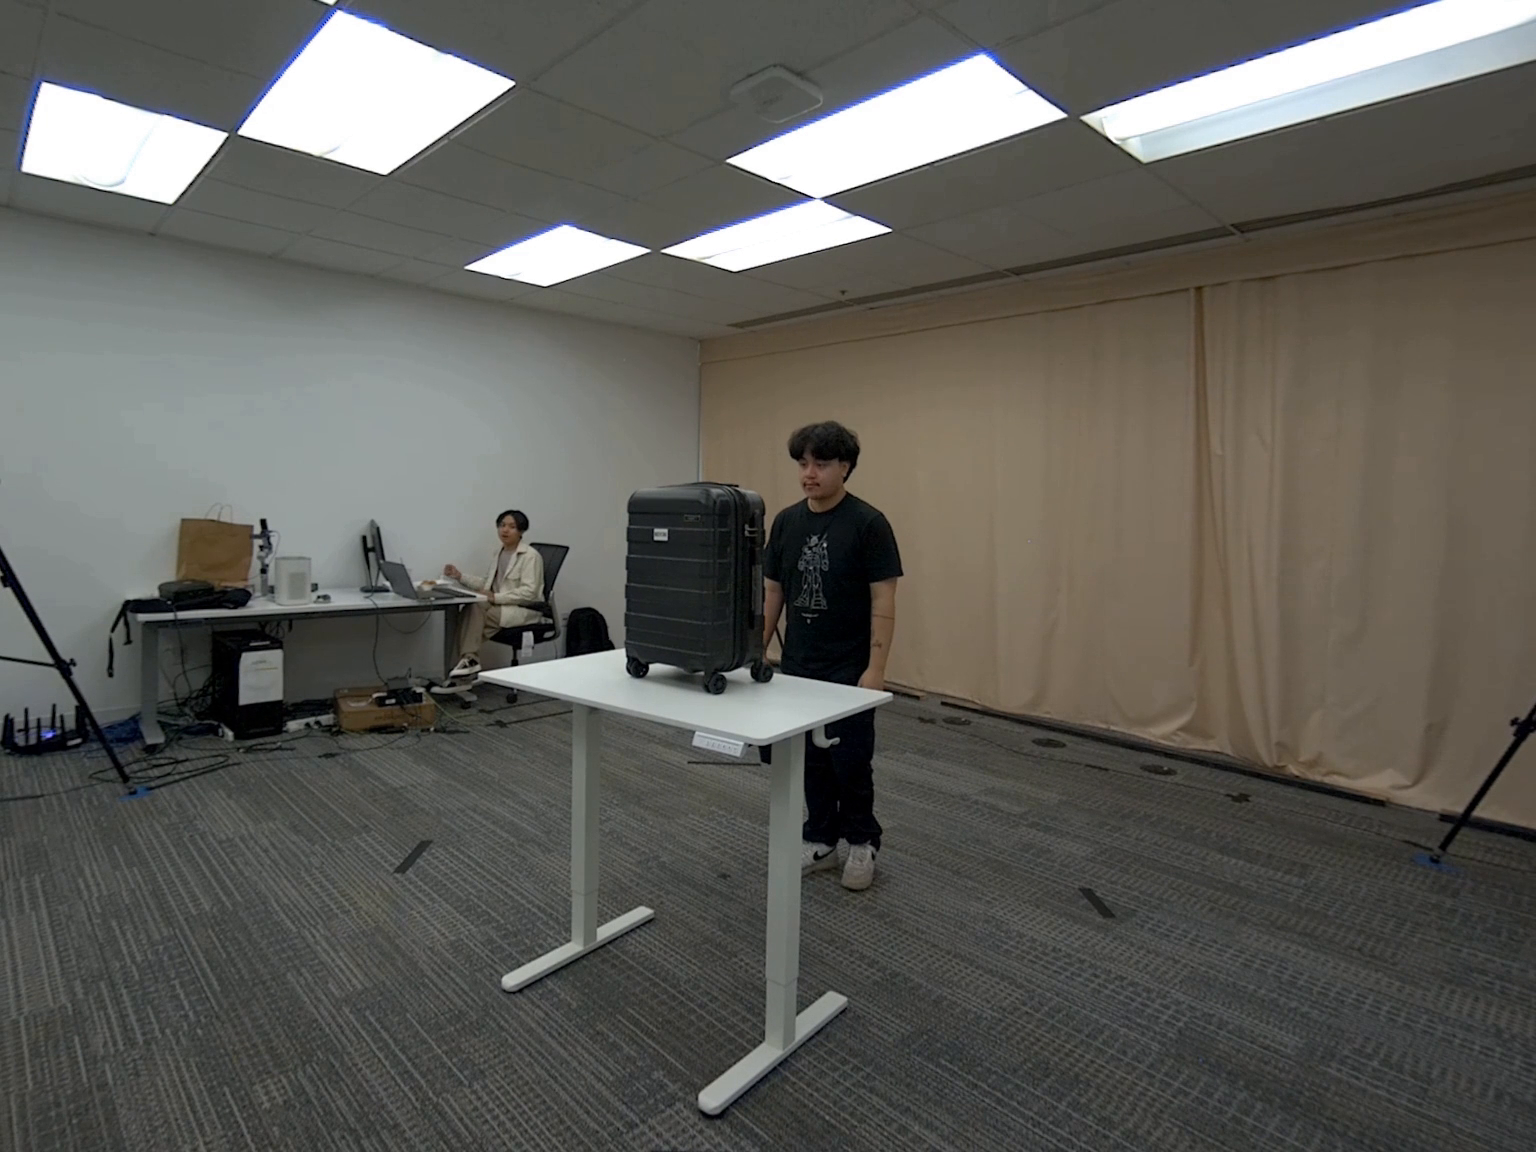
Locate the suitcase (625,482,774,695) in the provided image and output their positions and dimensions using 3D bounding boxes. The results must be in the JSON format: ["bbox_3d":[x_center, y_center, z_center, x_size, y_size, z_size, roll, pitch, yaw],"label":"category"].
[{"bbox_3d":[-0.206,0.018,2.339,0.385,0.548,0.243,4,5,39],"label":"suitcase"}]
